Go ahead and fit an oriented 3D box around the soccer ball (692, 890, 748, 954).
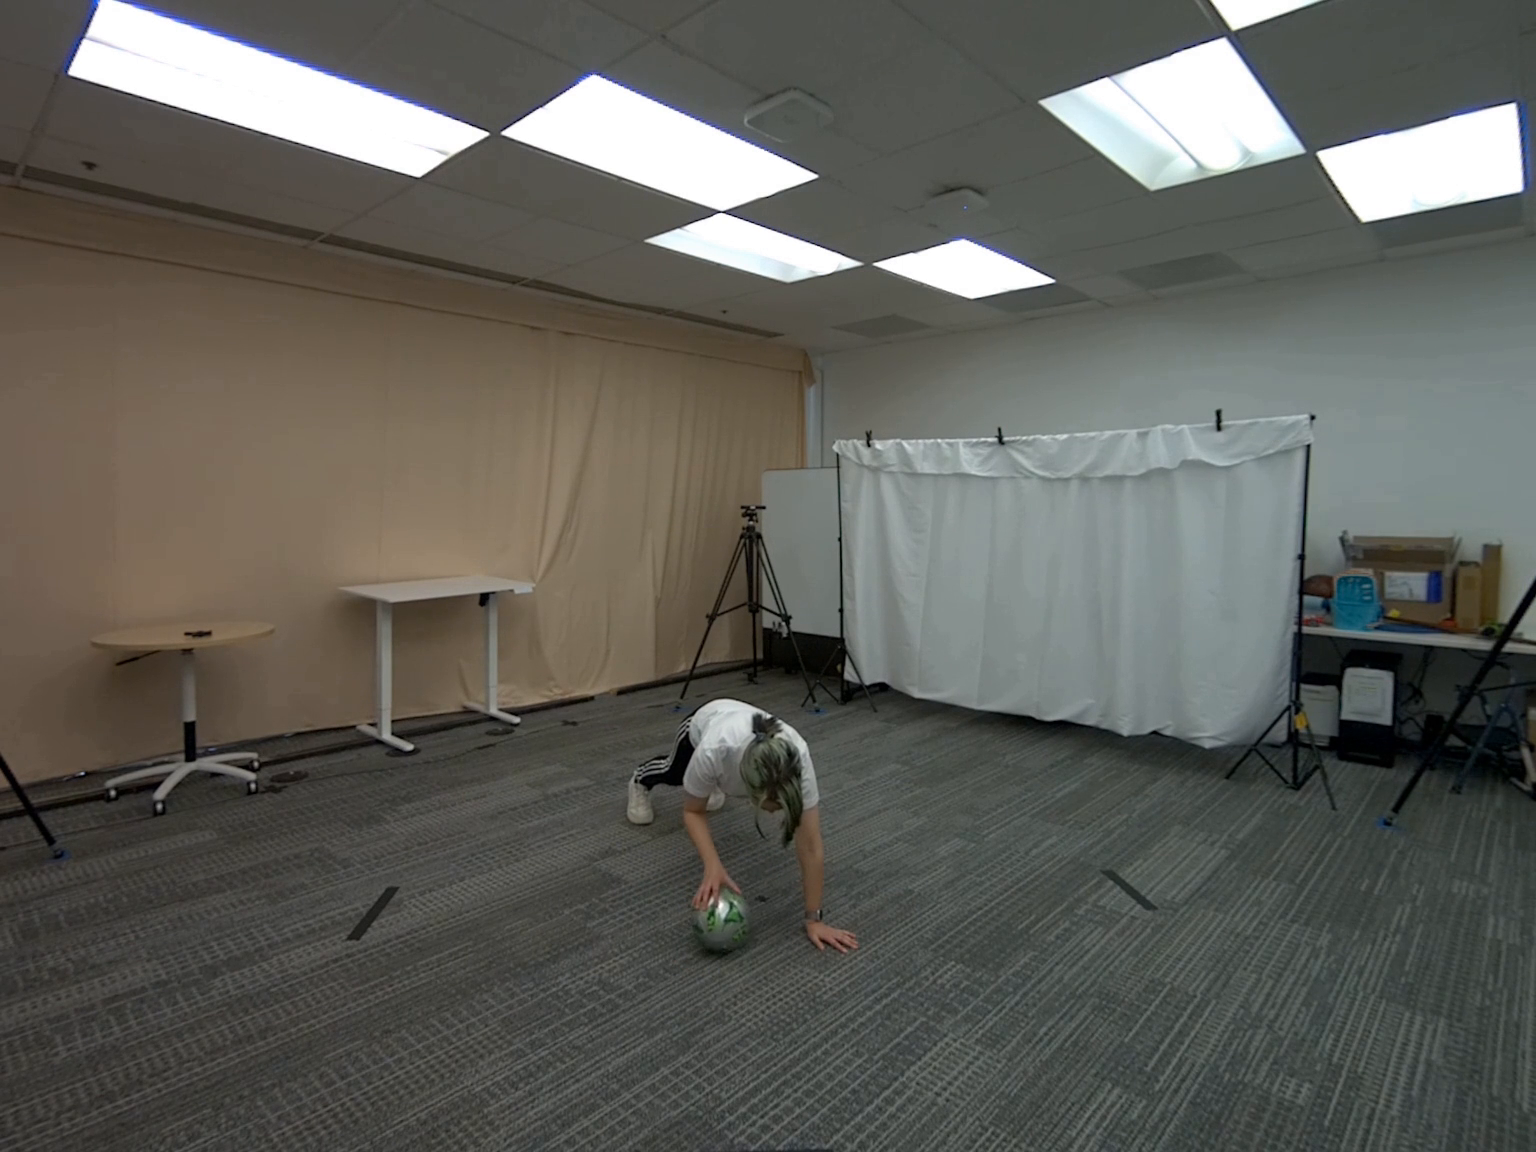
[{"bbox_3d":[-0.133,1.073,2.642,0.187,0.187,0.188,0,4,-2],"label":"soccer ball"}]
